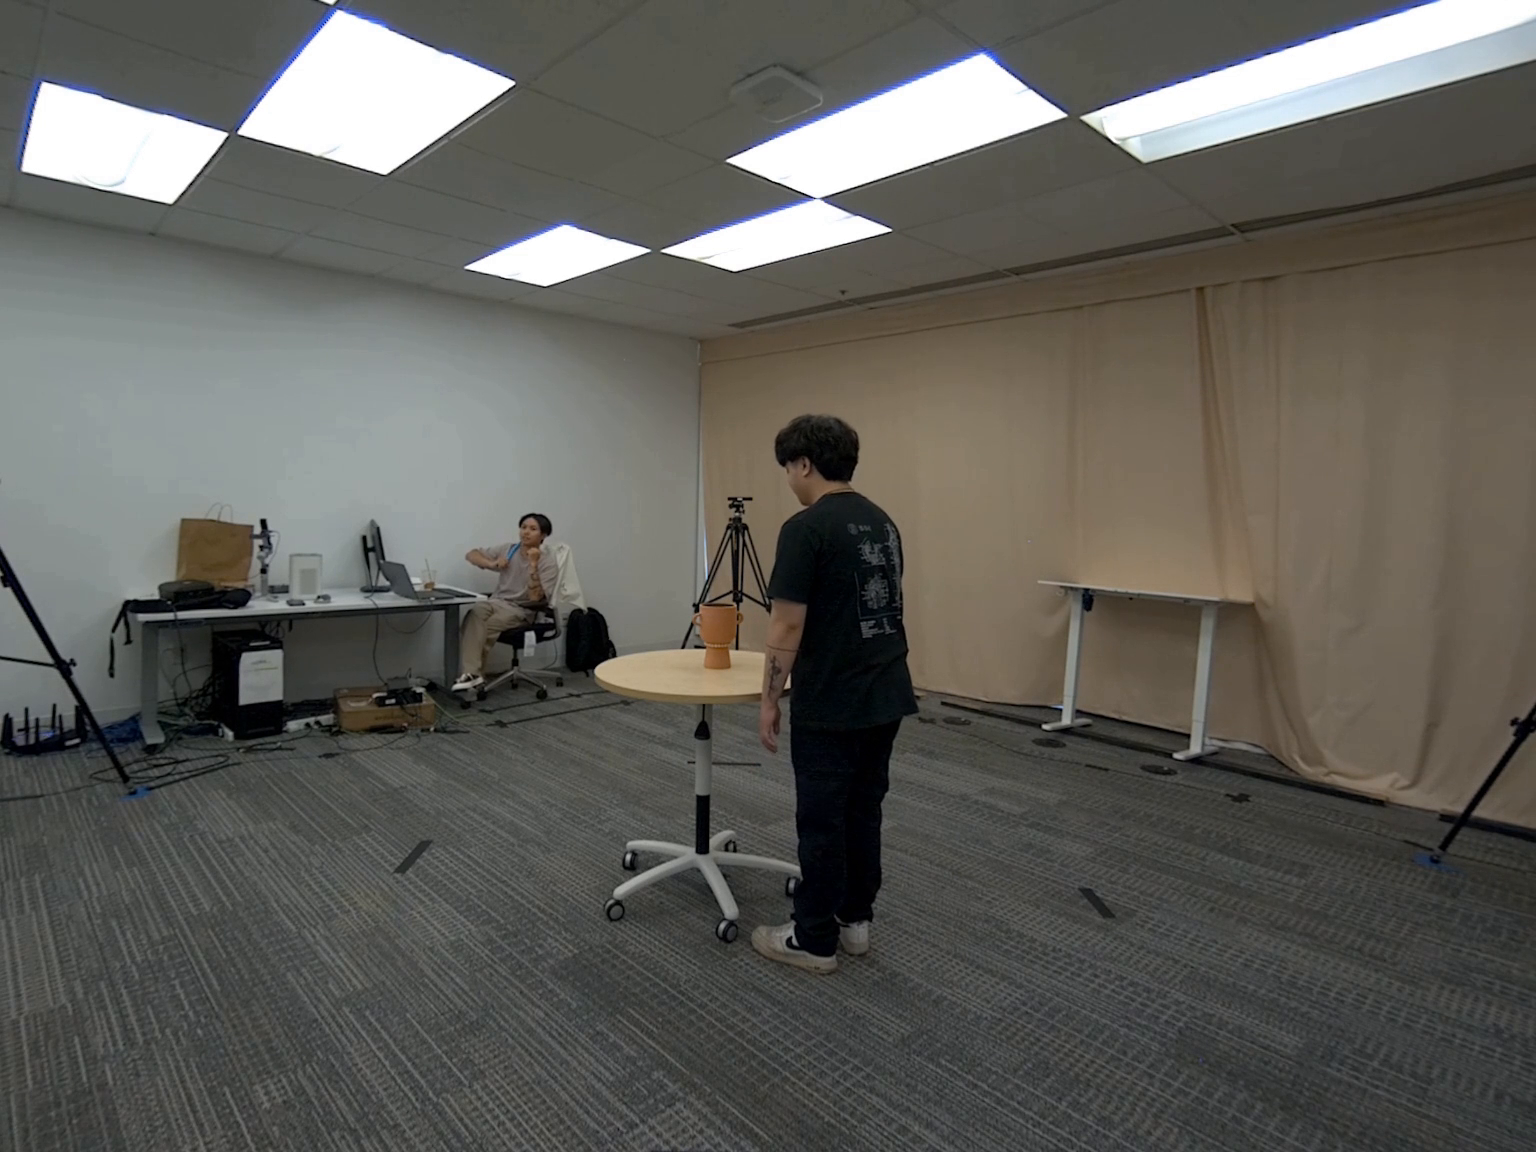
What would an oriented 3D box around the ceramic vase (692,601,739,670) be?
[{"bbox_3d":[-0.184,0.215,2.984,0.132,0.219,0.162,-1,6,-23],"label":"ceramic vase"}]
